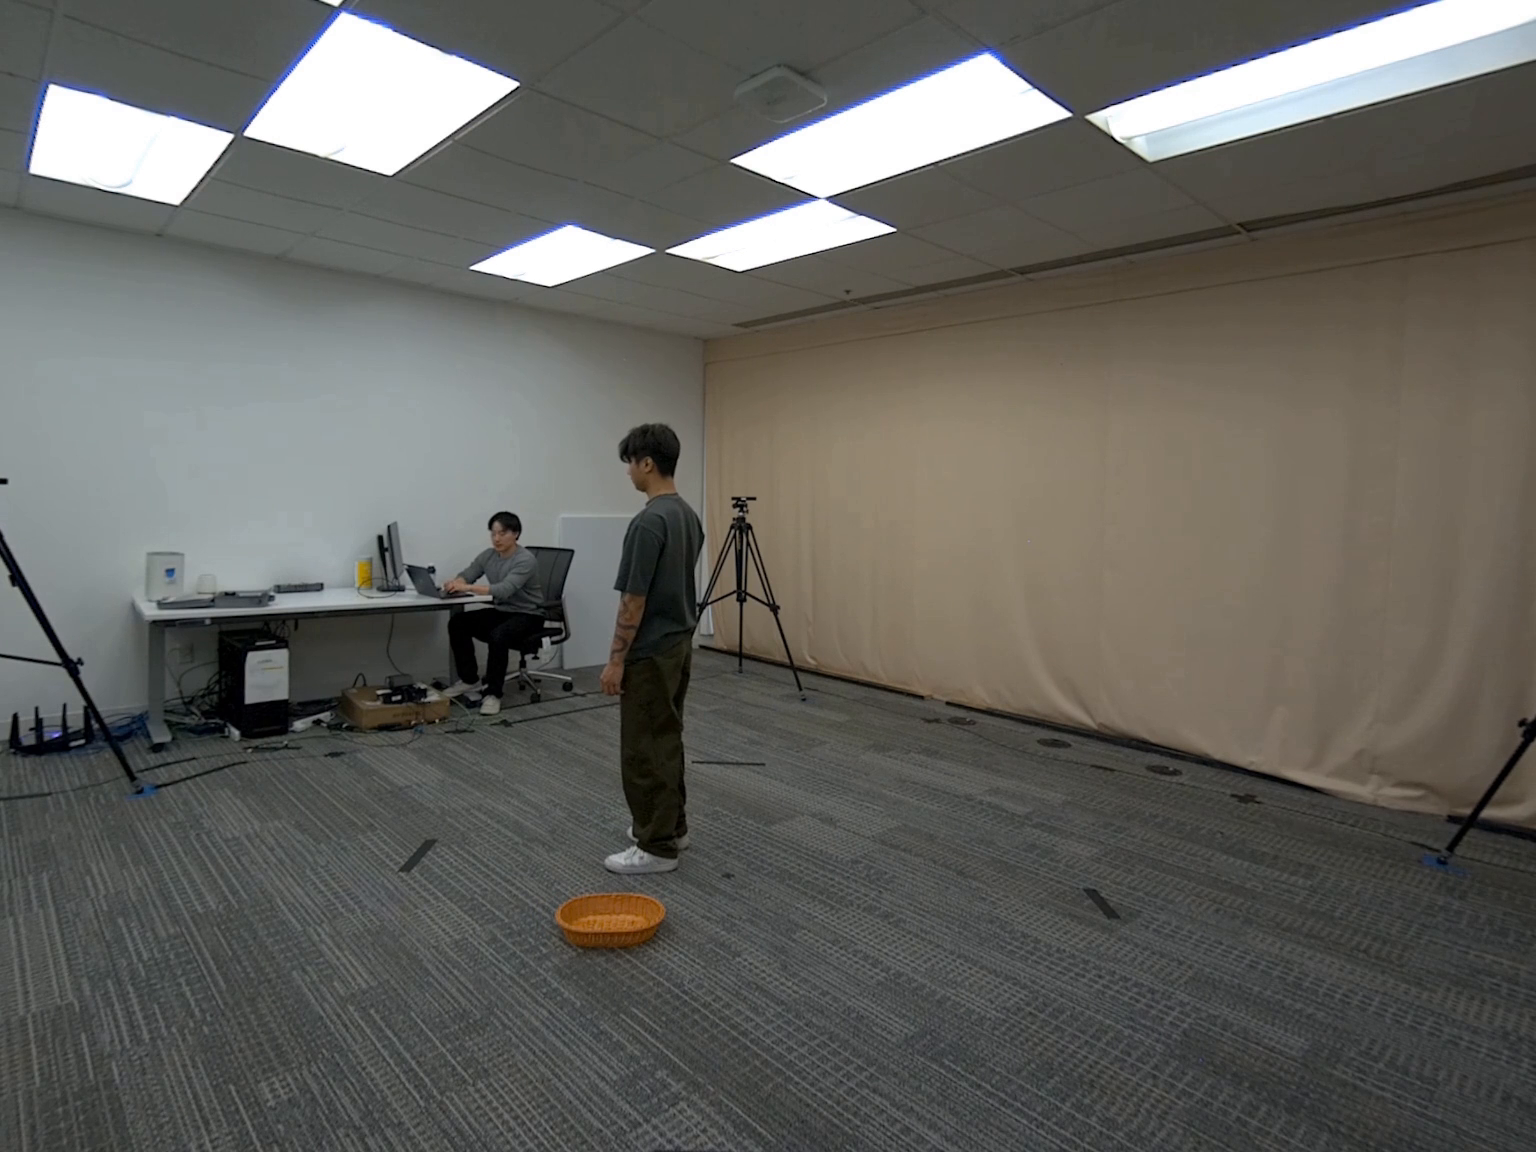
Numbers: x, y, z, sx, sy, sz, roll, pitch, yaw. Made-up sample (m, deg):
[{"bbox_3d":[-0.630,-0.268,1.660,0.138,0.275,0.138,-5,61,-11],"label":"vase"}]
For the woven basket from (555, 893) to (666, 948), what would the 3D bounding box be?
[{"bbox_3d":[-0.512,1.105,2.681,0.350,0.073,0.254,1,5,-3],"label":"woven basket"}]
